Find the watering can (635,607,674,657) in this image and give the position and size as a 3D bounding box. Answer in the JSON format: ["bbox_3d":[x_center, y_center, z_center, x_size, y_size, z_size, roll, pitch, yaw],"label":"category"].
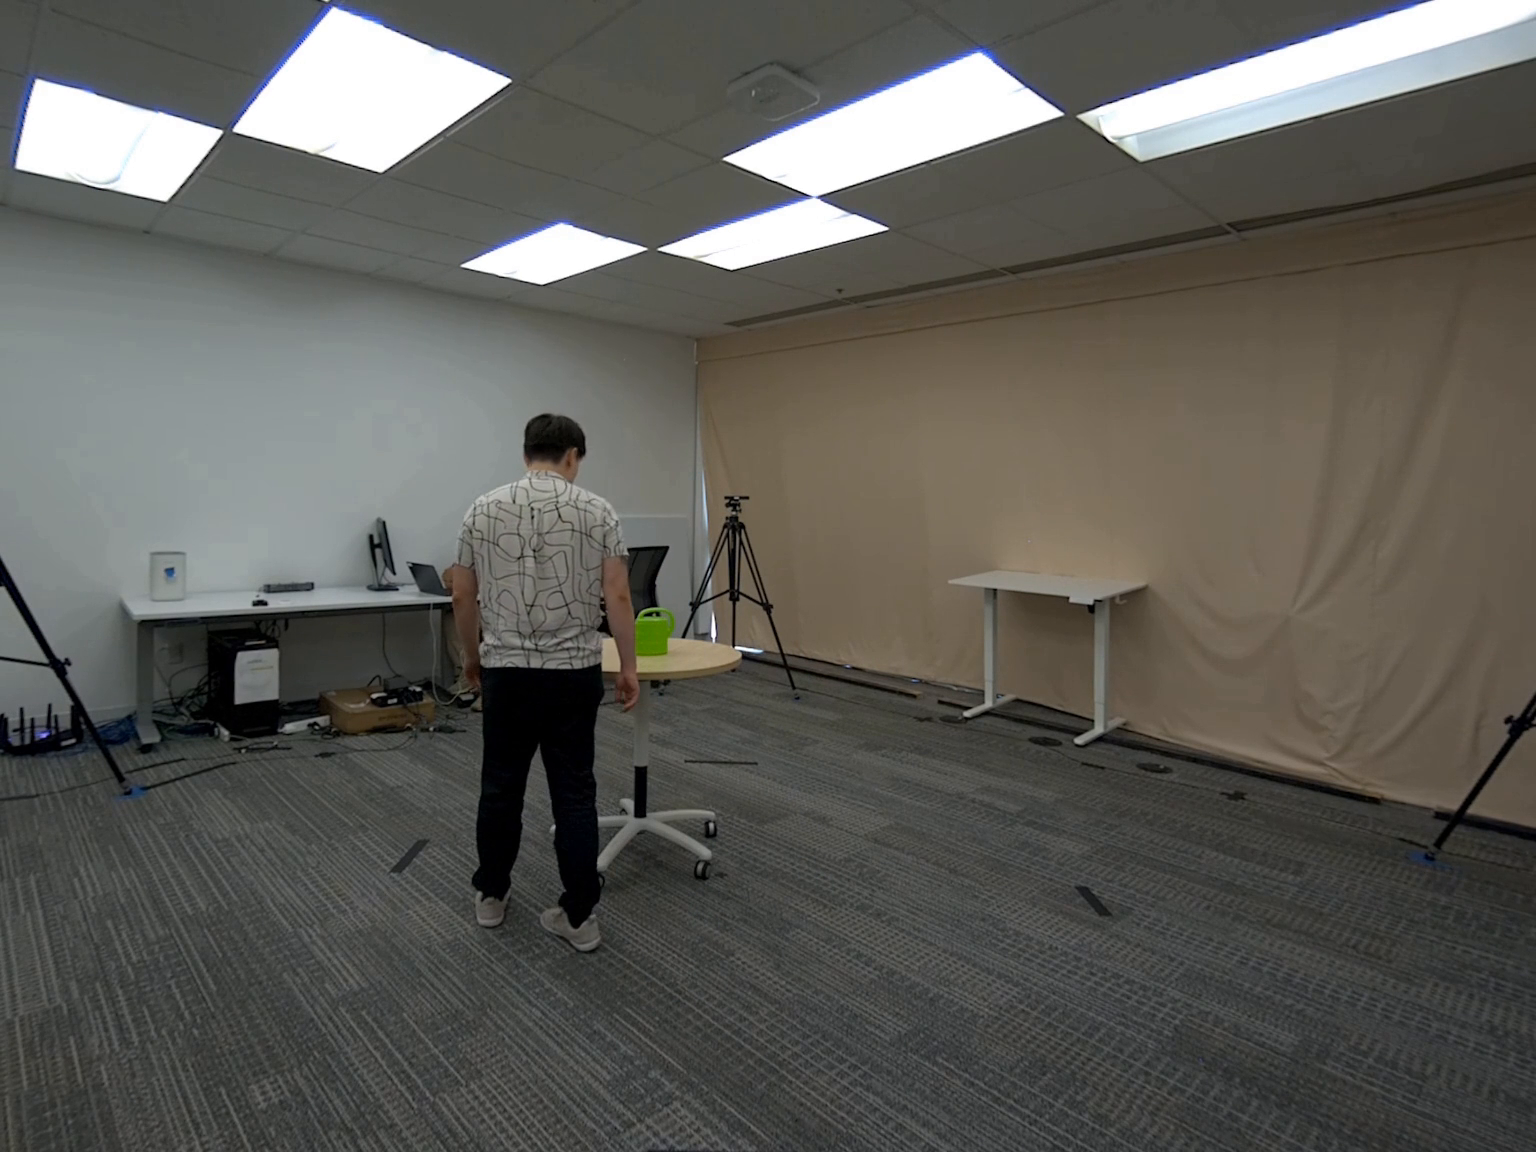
[{"bbox_3d":[-0.497,0.211,3.226,0.275,0.176,0.099,1,3,-14],"label":"watering can"}]
